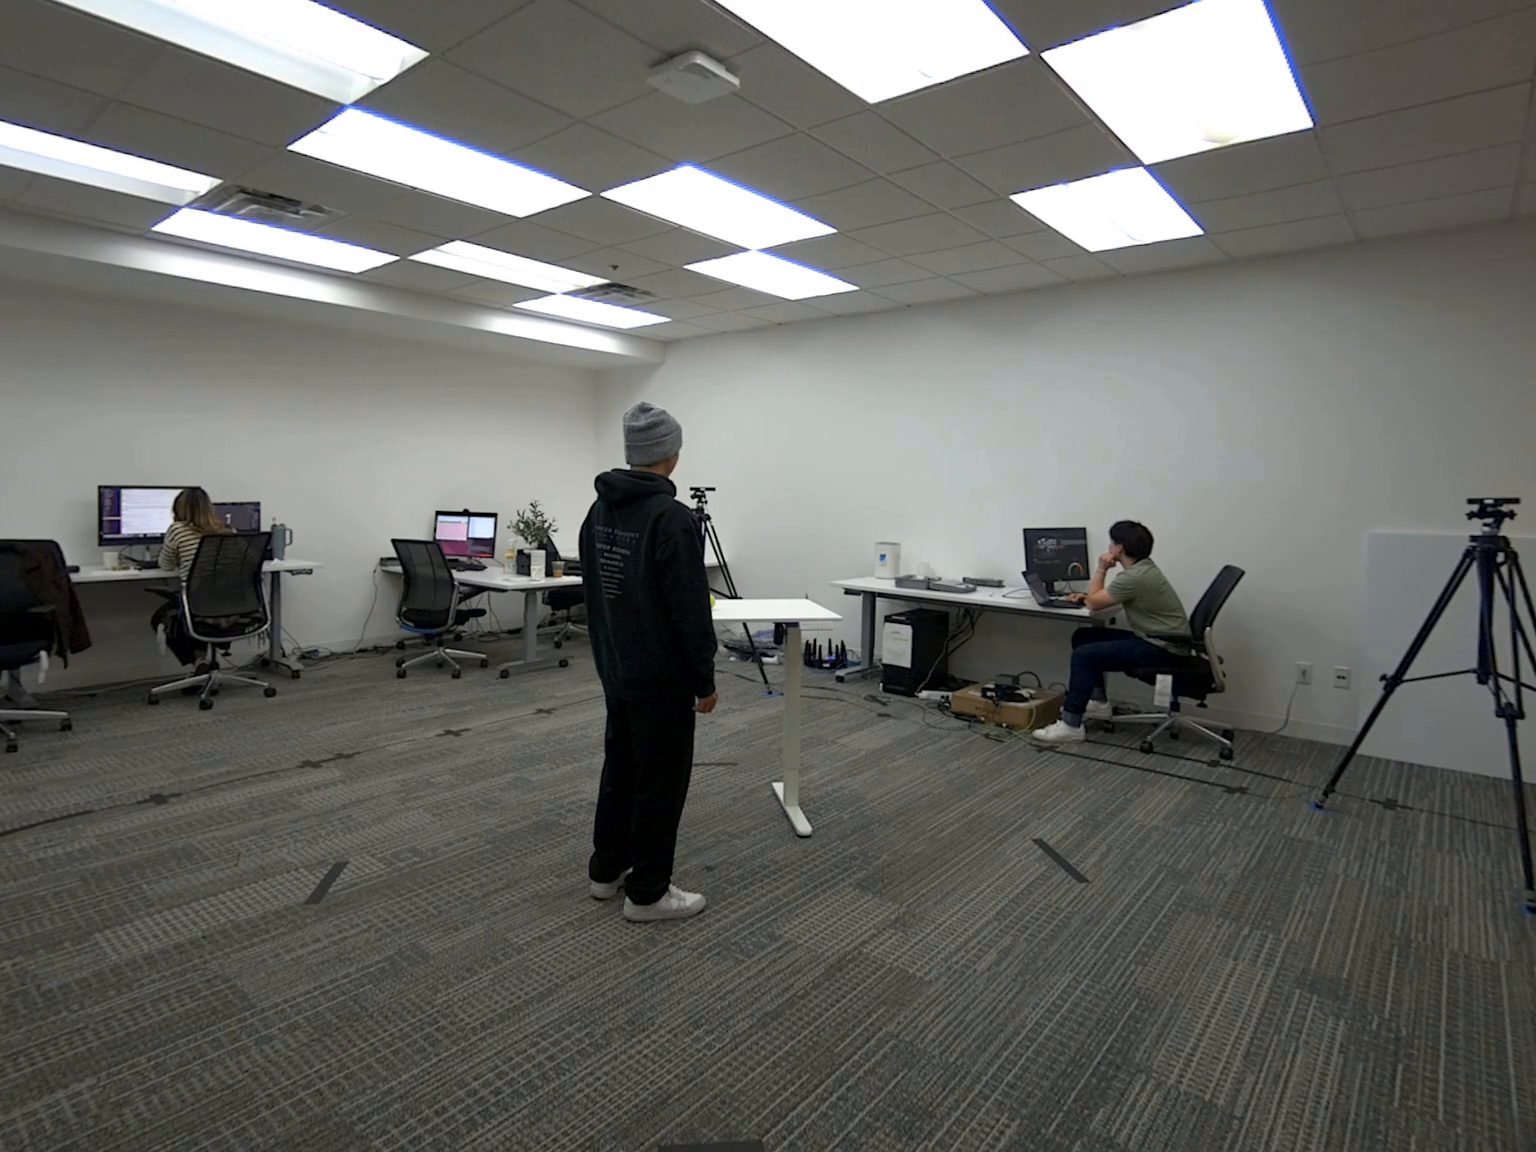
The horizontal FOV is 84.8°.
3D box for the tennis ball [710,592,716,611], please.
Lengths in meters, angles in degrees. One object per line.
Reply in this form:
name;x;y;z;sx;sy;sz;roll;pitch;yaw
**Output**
tennis ball;-0.259;0.104;3.559;0.066;0.066;0.067;1;4;-2
